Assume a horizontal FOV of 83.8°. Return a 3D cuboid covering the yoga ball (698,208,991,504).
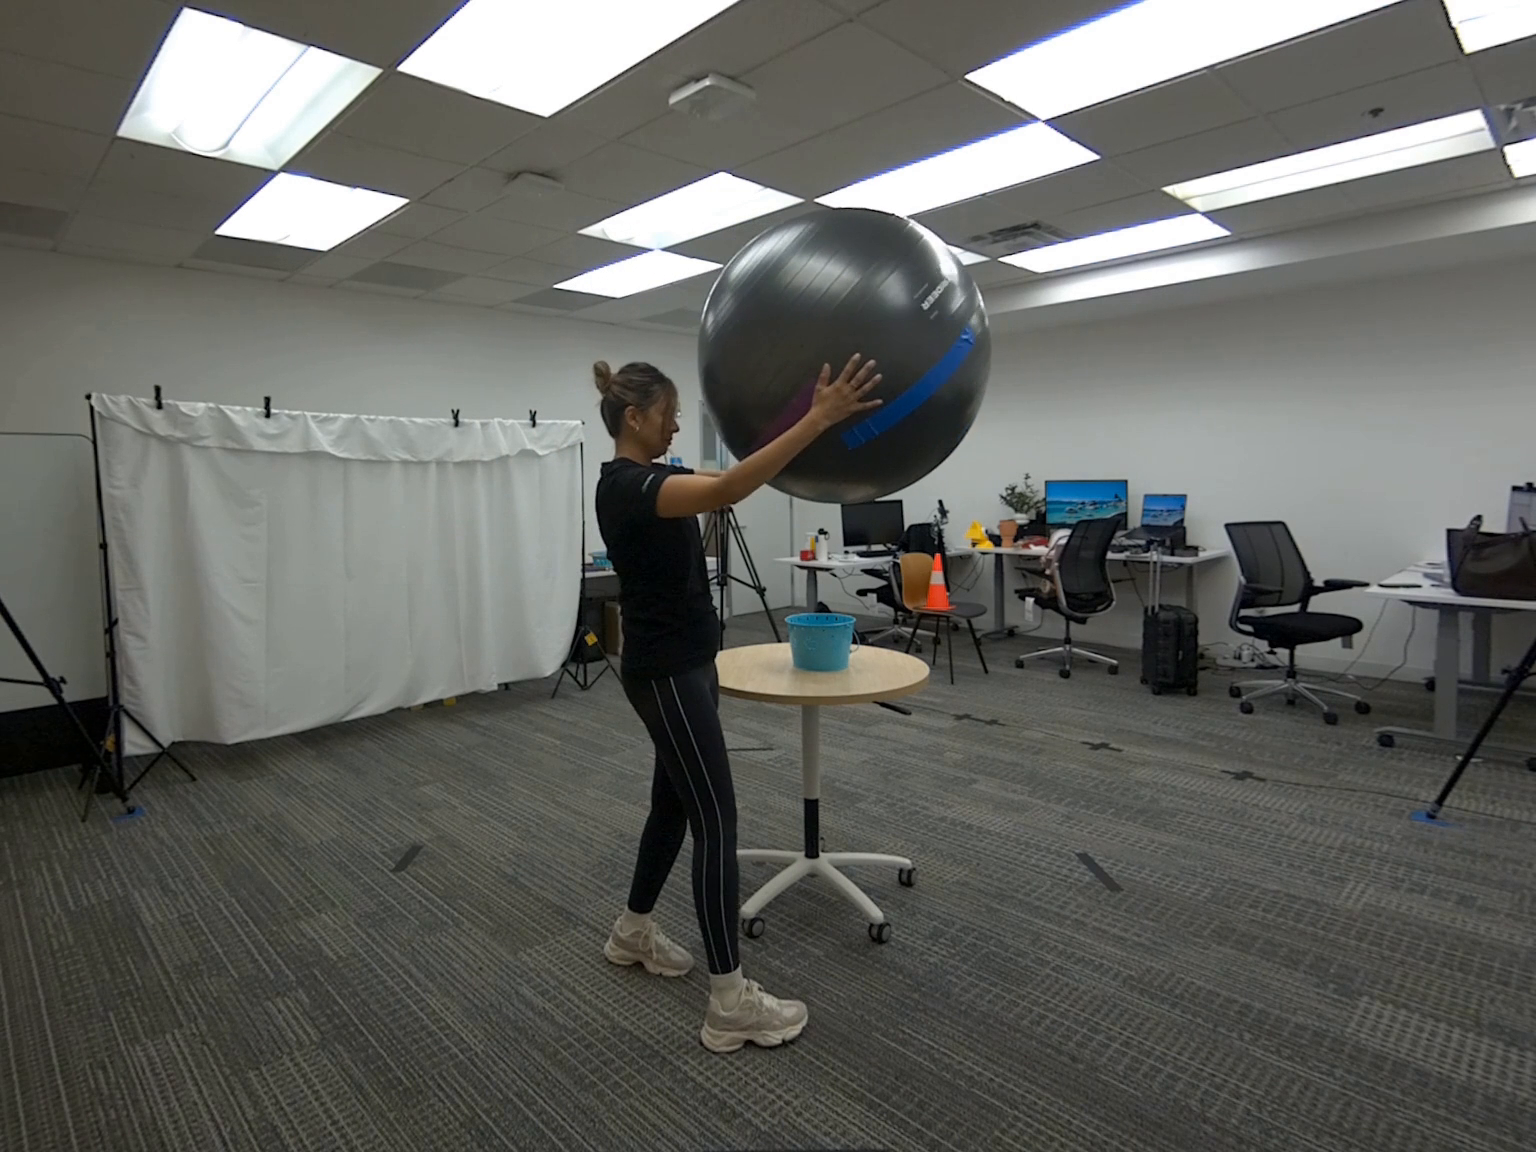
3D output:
[{"bbox_3d":[0.193,-0.569,2.242,0.757,0.755,0.762,-1,5,-2],"label":"yoga ball"}]
